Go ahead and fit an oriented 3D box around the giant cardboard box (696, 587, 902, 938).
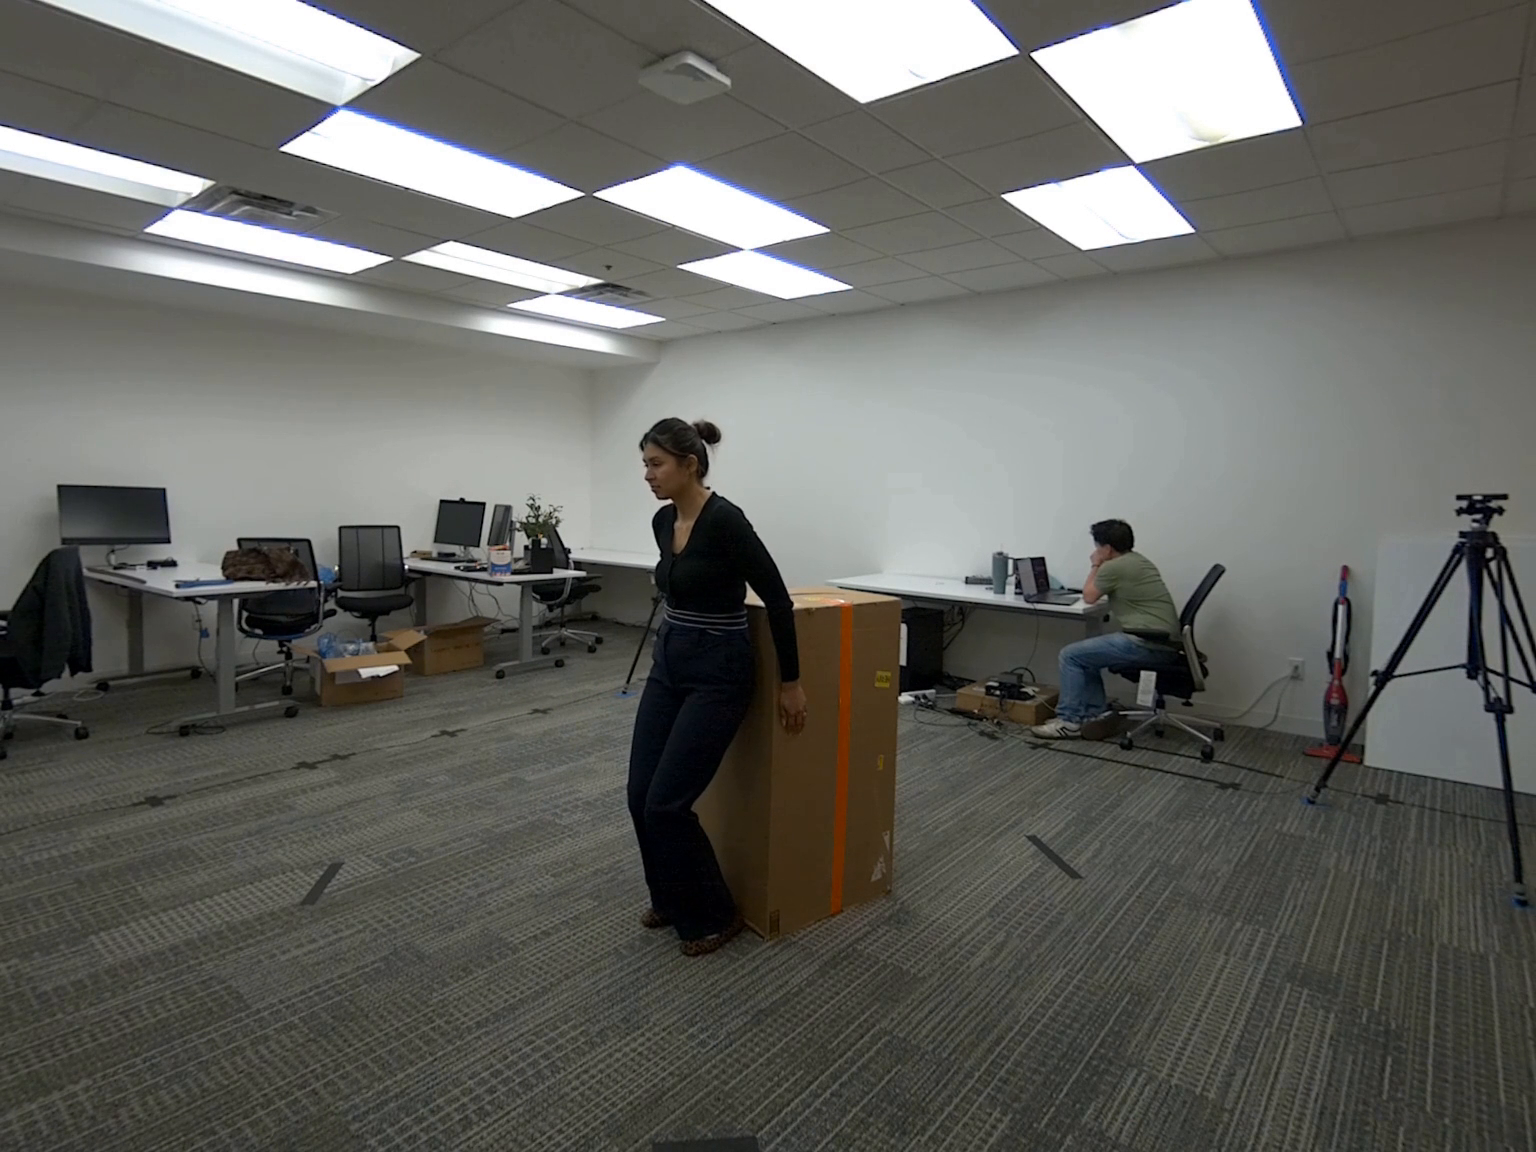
[{"bbox_3d":[0.091,0.578,2.931,0.560,1.023,0.440,-1,4,-39],"label":"giant cardboard box"}]
